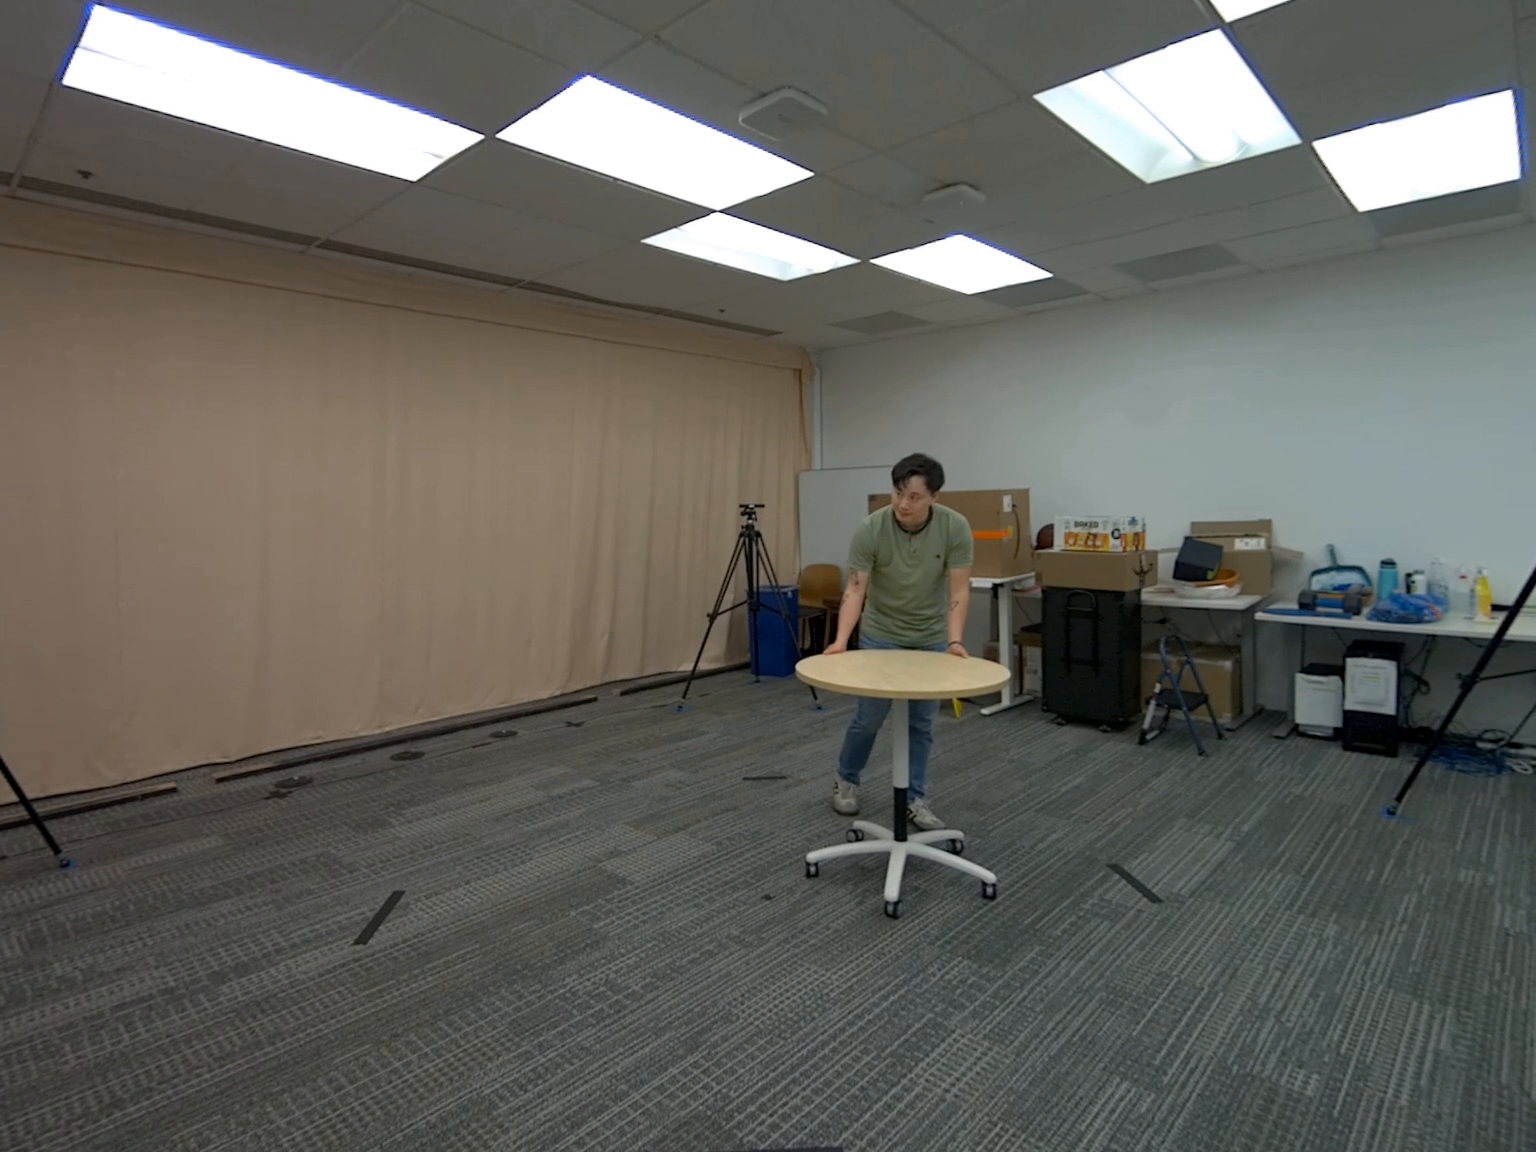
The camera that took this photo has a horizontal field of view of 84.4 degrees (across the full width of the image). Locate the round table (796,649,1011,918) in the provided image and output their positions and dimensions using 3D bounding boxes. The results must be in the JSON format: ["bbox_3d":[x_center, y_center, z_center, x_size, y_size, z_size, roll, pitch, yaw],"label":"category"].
[{"bbox_3d":[0.486,0.731,3.112,0.763,0.792,0.767,0,4,-2],"label":"round table"}]
